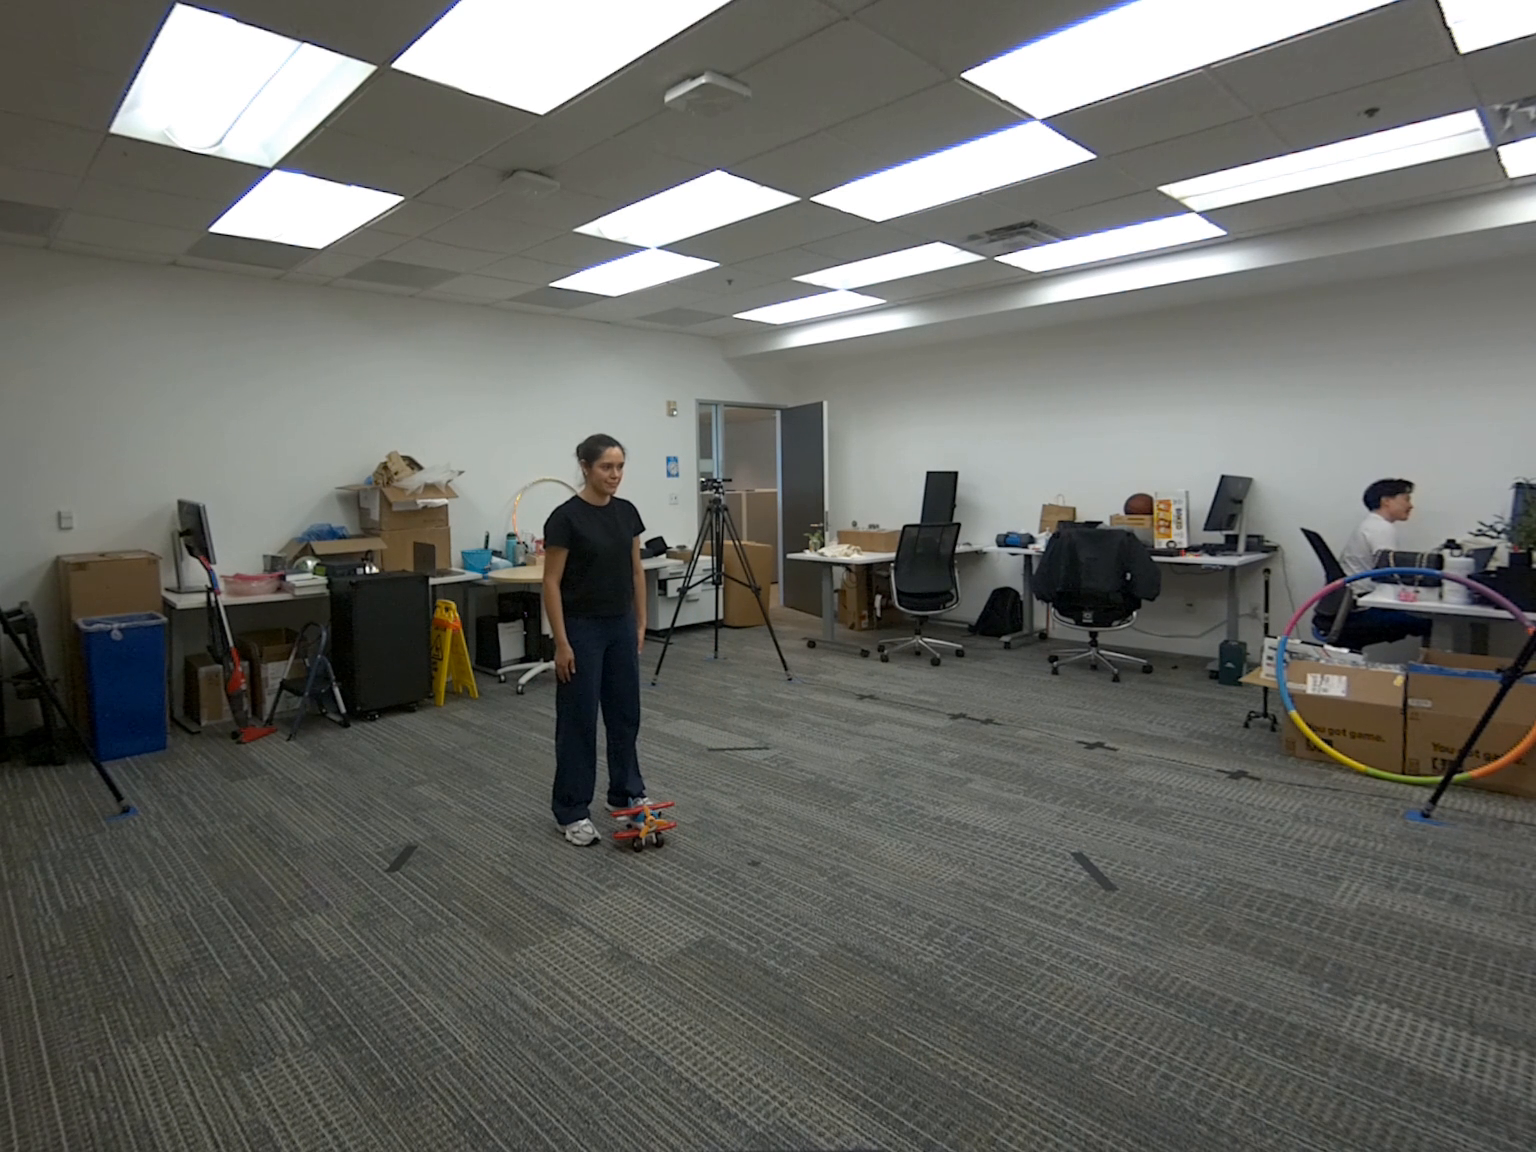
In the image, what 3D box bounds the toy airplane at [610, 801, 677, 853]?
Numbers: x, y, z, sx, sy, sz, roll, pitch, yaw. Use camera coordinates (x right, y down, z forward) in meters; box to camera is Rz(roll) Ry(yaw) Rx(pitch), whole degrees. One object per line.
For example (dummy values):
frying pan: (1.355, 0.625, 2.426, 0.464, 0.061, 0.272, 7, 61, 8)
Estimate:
toy airplane: (-0.510, 0.957, 3.318, 0.267, 0.156, 0.245, 5, 7, 35)
